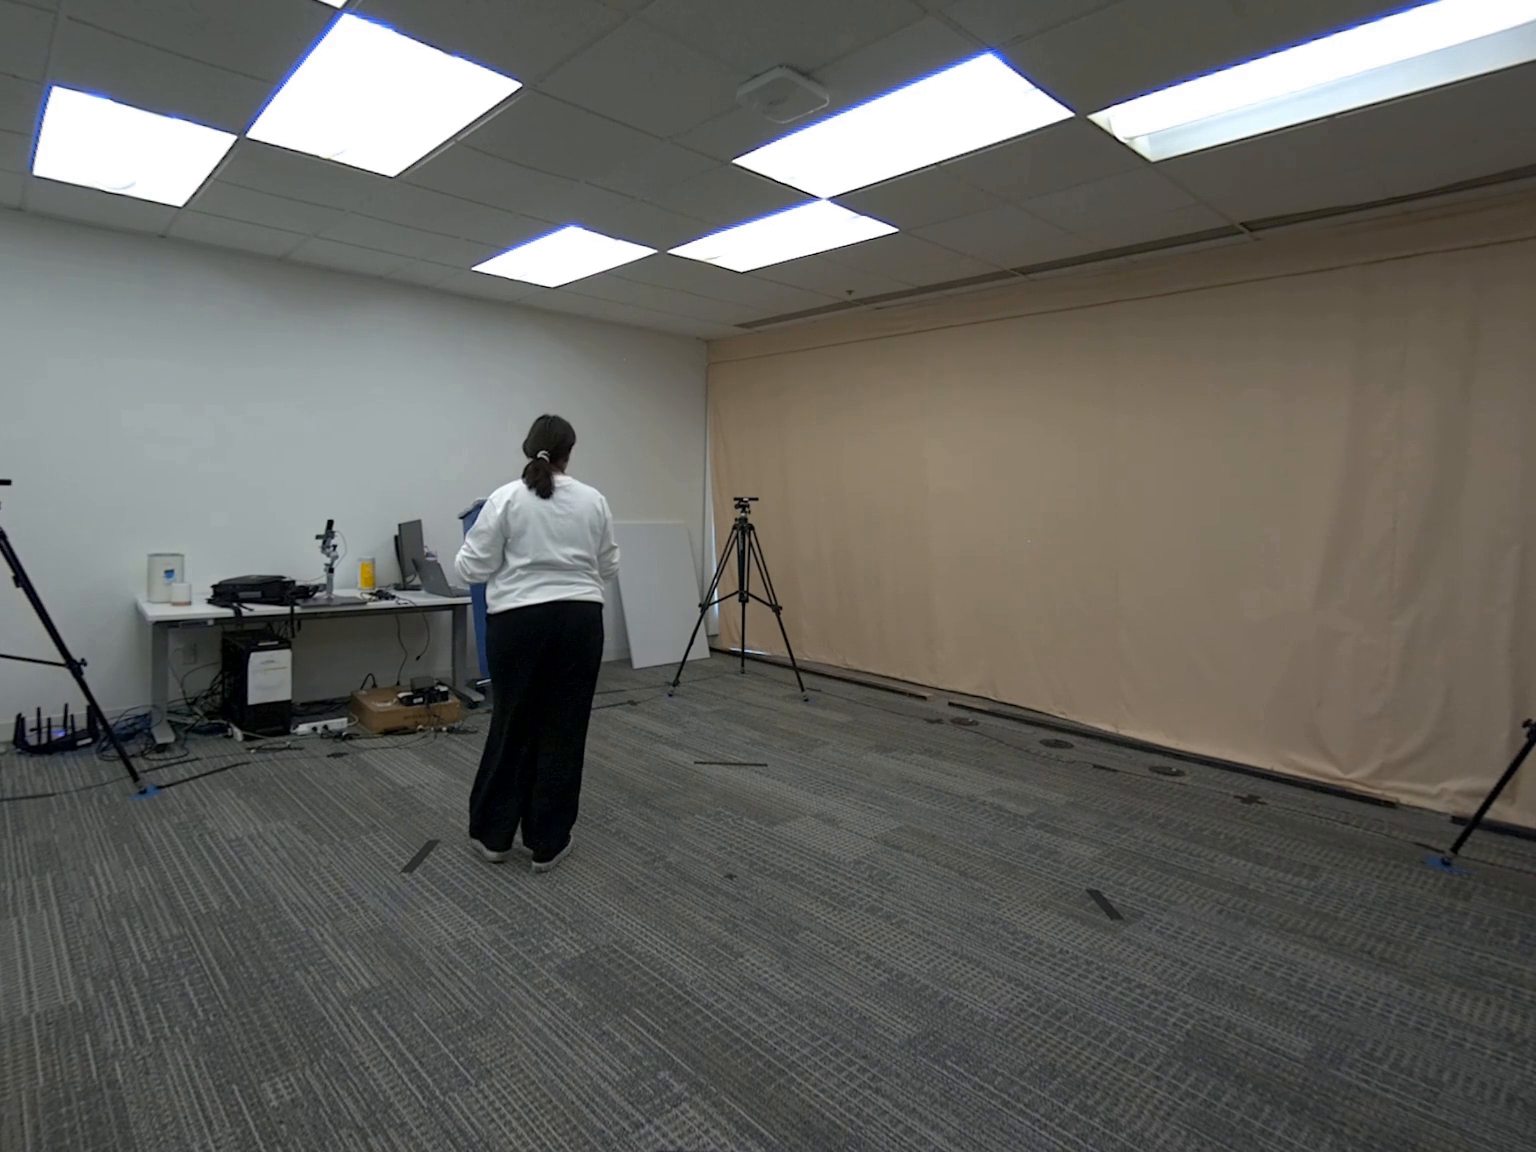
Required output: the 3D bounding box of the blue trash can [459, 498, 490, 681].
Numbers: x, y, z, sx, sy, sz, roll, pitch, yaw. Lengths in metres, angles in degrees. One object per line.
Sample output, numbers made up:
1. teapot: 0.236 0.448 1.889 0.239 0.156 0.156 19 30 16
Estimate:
1. blue trash can: -1.066 0.057 3.549 0.370 0.717 0.380 -3 -6 -33
